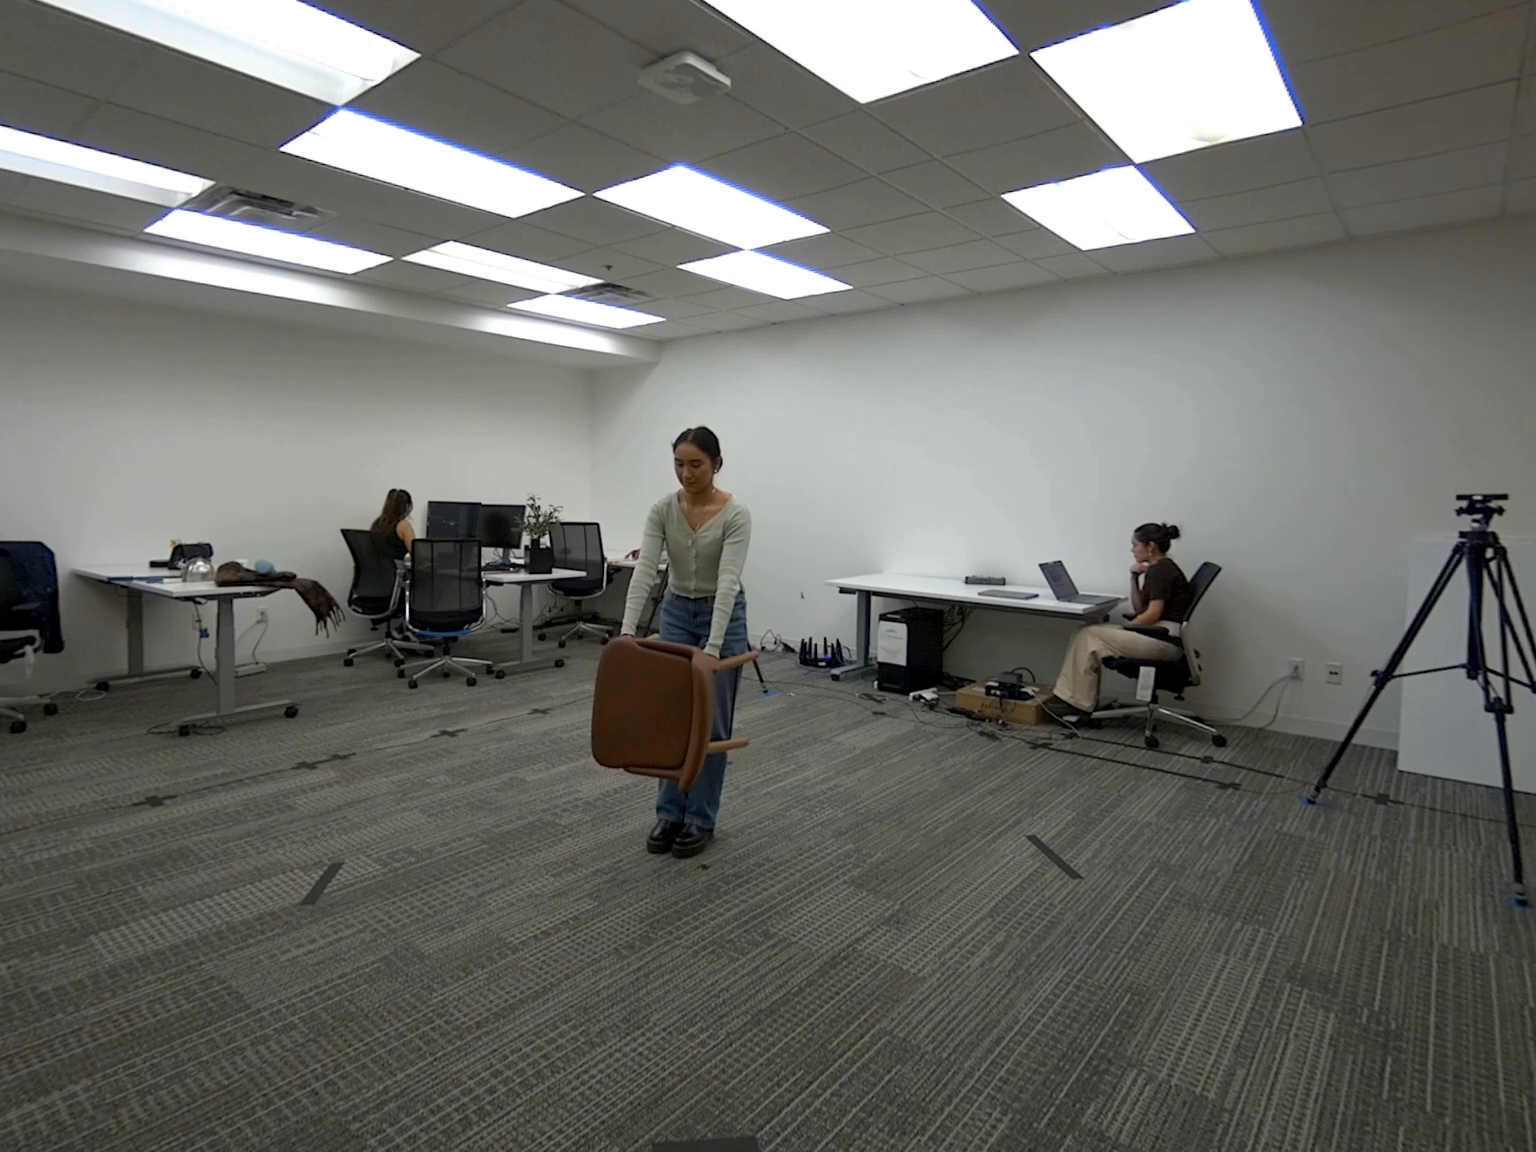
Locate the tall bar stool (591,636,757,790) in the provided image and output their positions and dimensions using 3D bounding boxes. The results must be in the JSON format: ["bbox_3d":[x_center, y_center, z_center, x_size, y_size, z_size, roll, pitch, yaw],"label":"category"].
[{"bbox_3d":[-0.357,0.454,3.031,0.475,0.457,0.876,7,0,11],"label":"tall bar stool"}]
